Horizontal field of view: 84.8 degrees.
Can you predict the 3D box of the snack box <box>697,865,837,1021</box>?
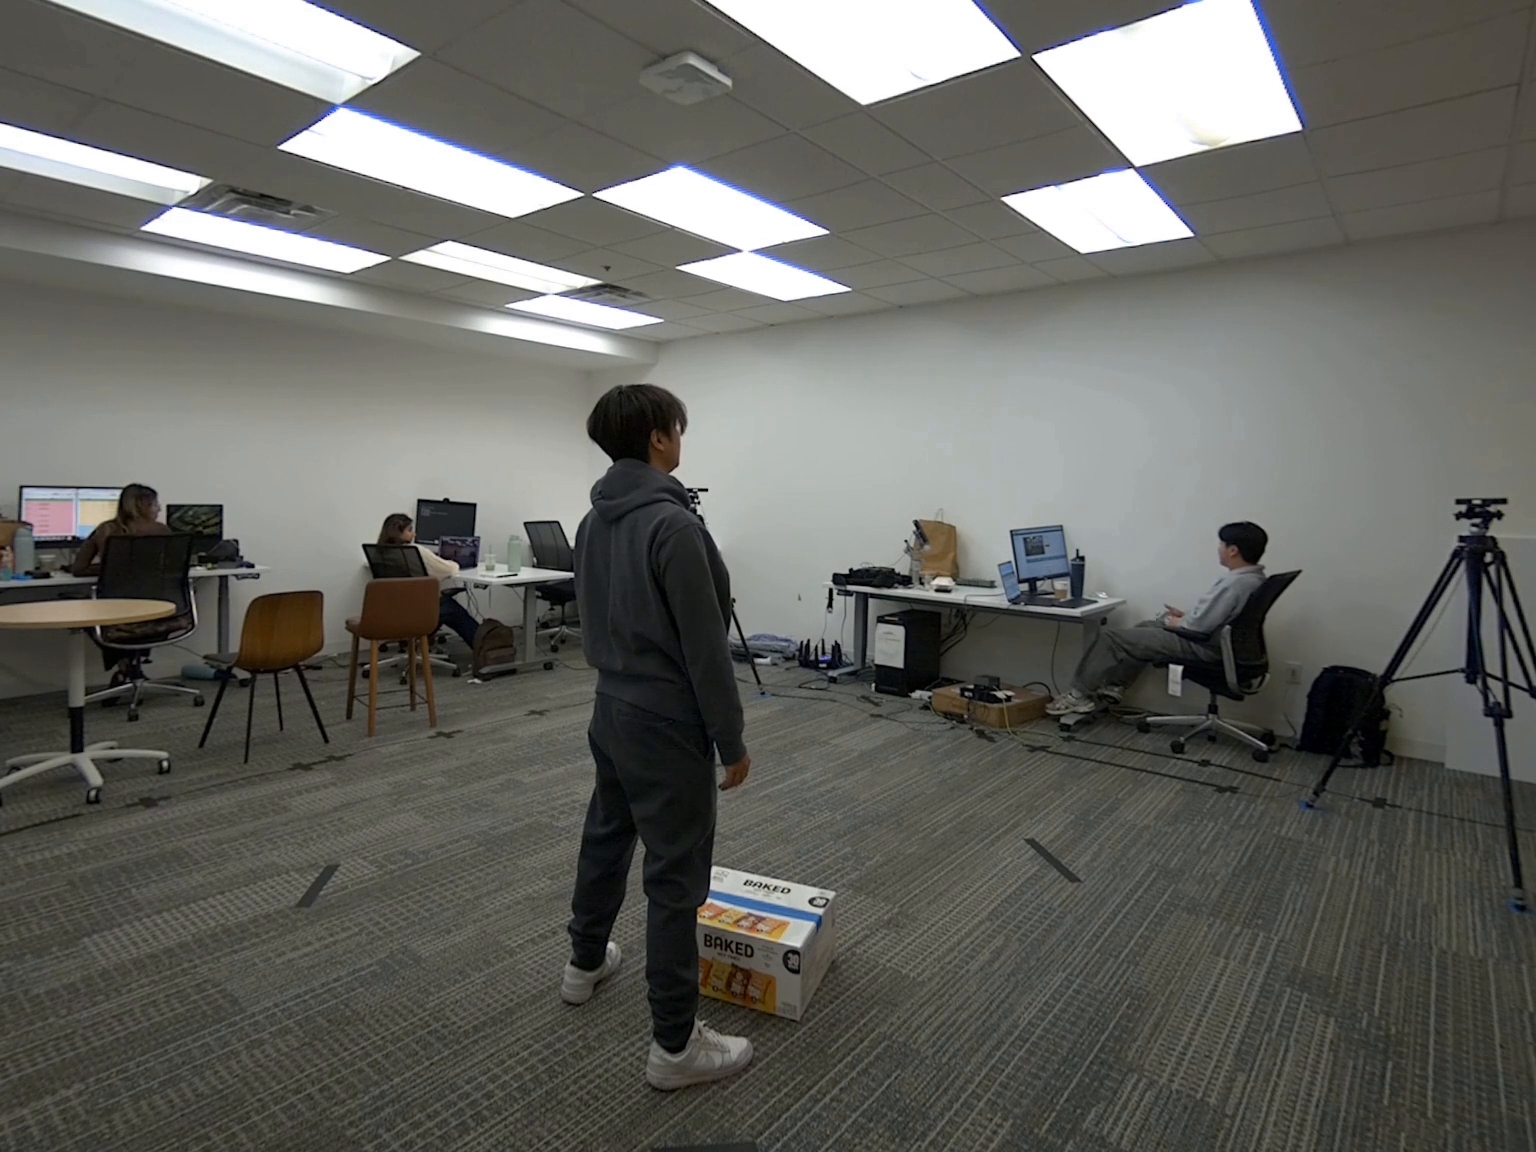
[{"bbox_3d":[-0.054,1.035,2.445,0.415,0.205,0.334,3,6,22],"label":"snack box"}]
